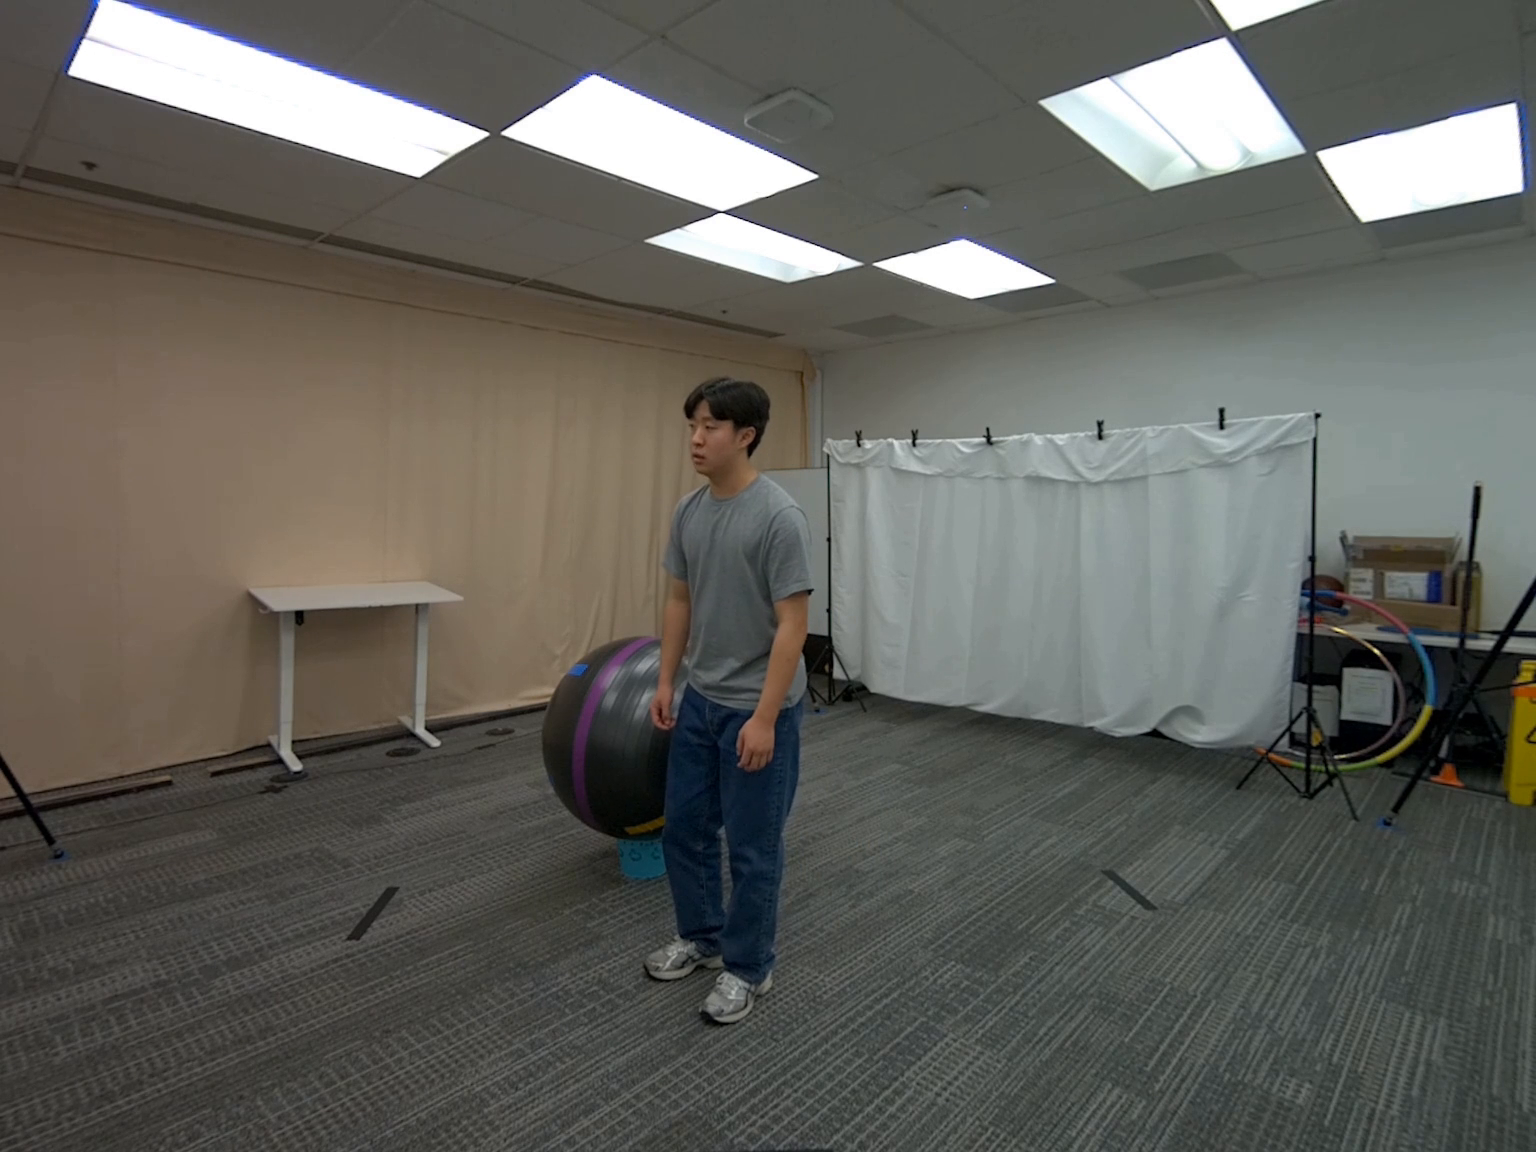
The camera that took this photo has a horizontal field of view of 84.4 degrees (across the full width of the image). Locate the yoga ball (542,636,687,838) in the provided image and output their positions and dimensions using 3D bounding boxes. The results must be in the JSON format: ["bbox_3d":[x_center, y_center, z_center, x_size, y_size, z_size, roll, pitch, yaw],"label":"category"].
[{"bbox_3d":[-0.474,0.614,3.225,0.757,0.756,0.760,0,4,-2],"label":"yoga ball"}]
